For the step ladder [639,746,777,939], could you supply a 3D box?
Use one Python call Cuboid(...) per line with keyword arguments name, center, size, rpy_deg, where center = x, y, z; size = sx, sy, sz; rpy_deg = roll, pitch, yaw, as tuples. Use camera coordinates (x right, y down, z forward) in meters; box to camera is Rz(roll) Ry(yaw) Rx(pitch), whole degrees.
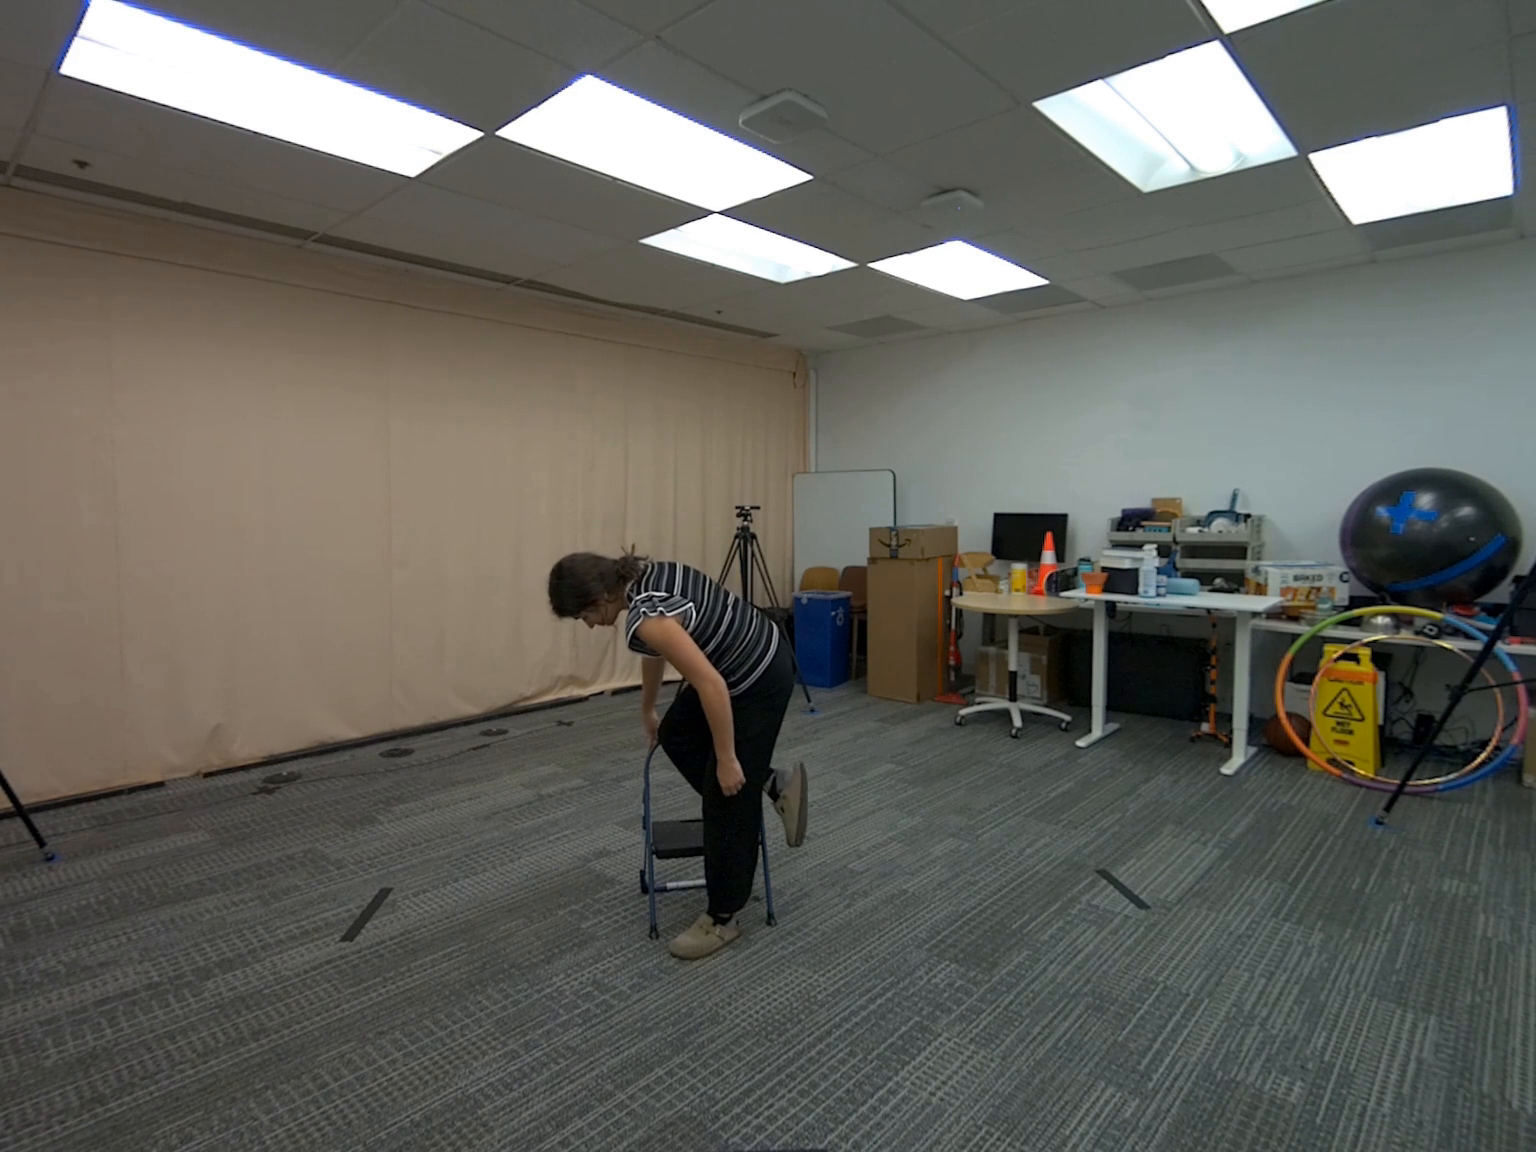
Cuboid(name="step ladder", center=(-0.218, 0.851, 2.909), size=(0.425, 0.605, 0.355), rpy_deg=(-1, 3, -13))
